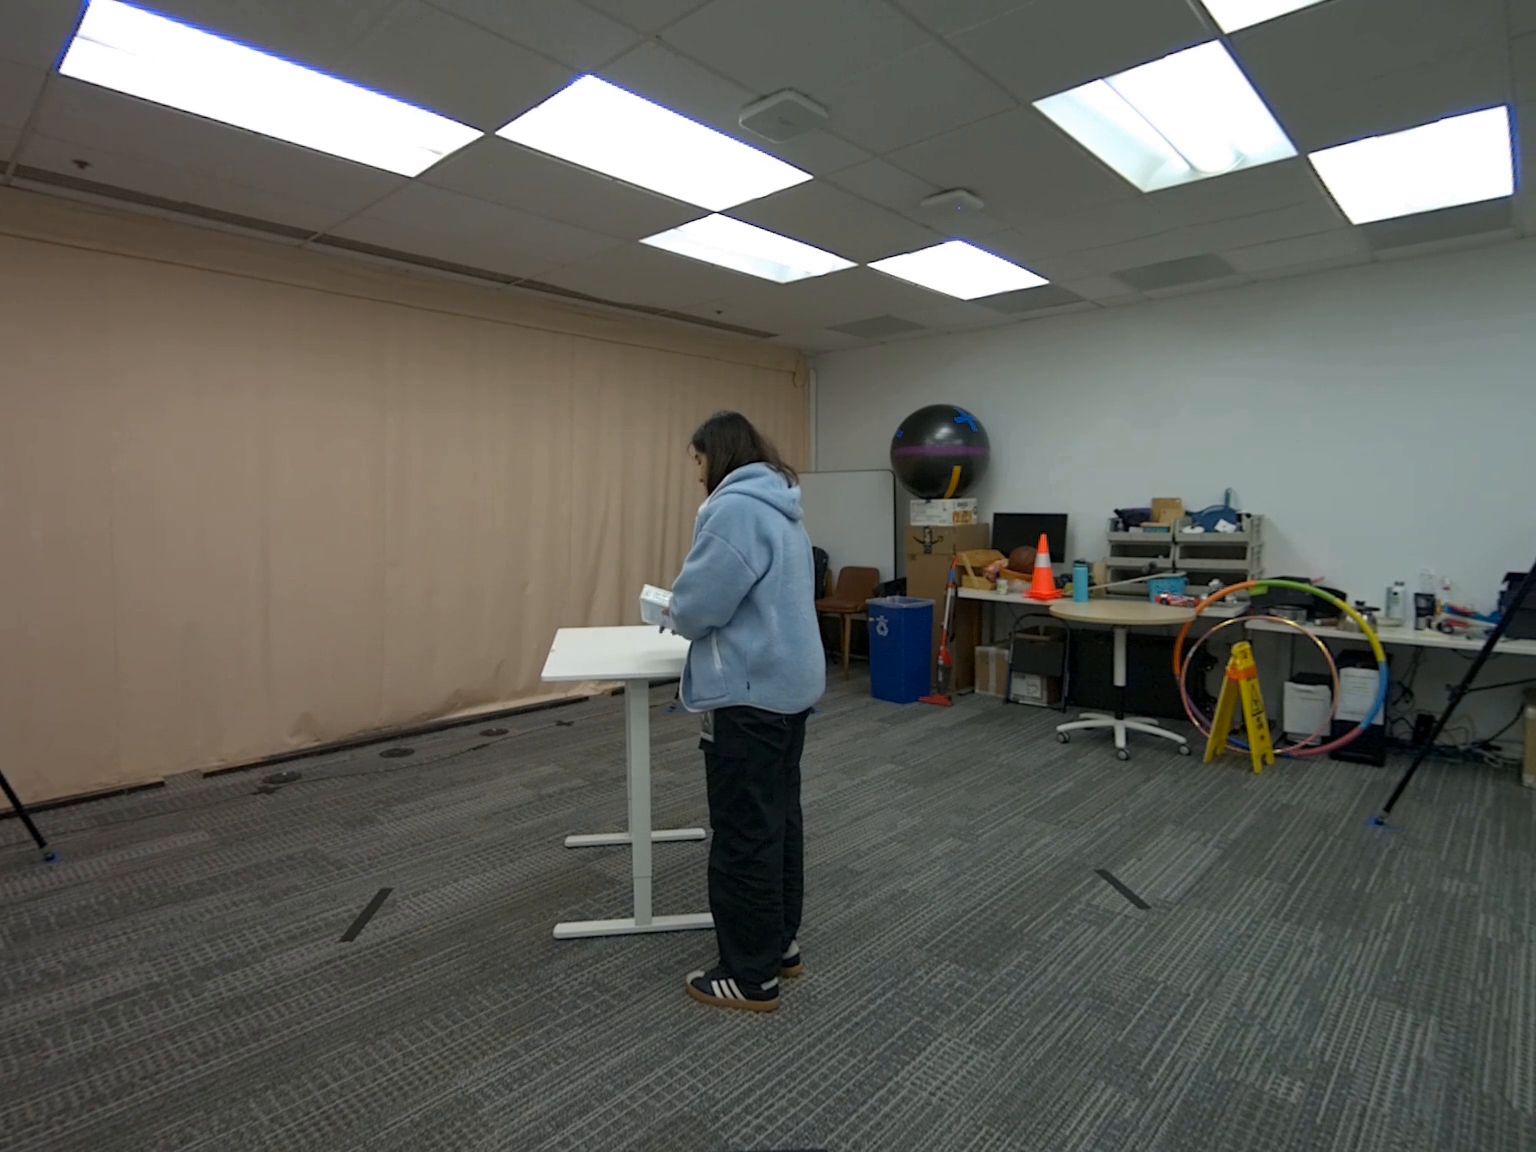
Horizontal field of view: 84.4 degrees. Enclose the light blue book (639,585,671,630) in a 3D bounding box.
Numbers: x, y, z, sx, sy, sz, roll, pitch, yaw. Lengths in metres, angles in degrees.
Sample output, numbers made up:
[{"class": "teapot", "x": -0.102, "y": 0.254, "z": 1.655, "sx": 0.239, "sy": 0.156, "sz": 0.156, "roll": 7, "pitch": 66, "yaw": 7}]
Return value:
[{"class": "light blue book", "x": -0.280, "y": 0.123, "z": 2.737, "sx": 0.264, "sy": 0.059, "sz": 0.188, "roll": 16, "pitch": -27, "yaw": 9}]
